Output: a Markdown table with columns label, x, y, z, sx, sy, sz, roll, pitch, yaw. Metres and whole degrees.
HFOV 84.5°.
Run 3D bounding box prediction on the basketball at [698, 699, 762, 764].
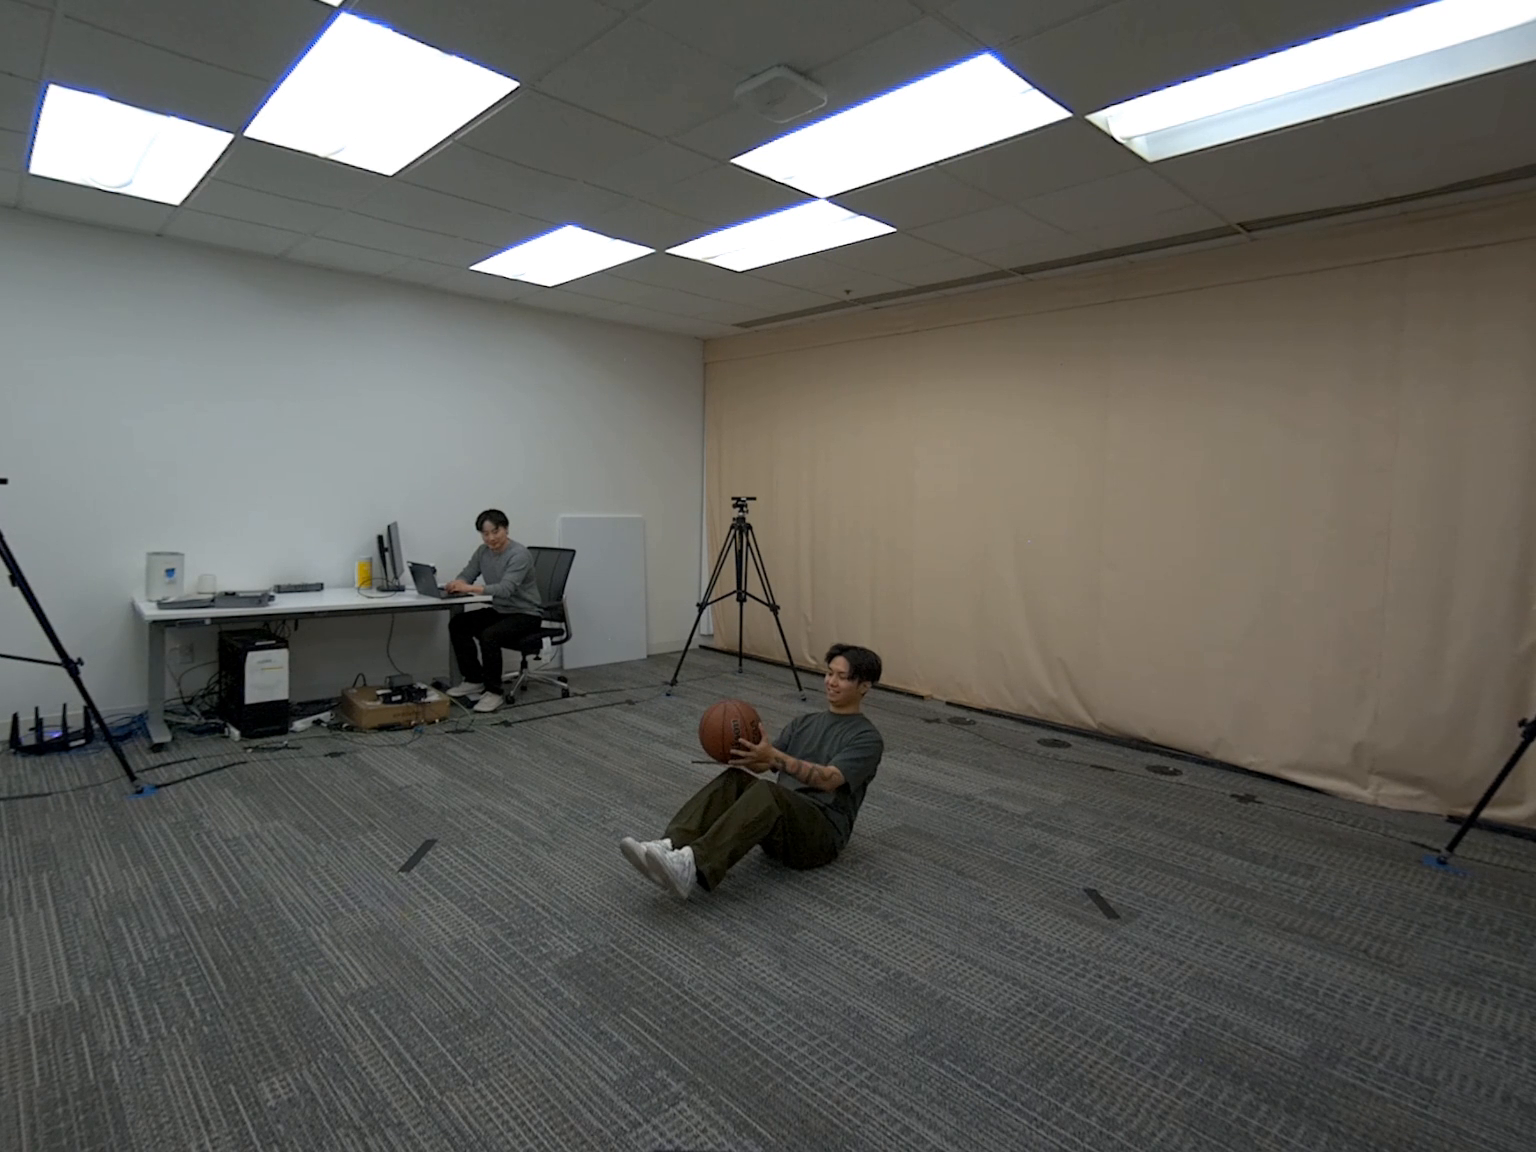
| label | x | y | z | sx | sy | sz | roll | pitch | yaw |
| --- | --- | --- | --- | --- | --- | --- | --- | --- | --- |
| basketball | -0.138 | 0.585 | 3.100 | 0.236 | 0.235 | 0.237 | 1 | 4 | -1 |
